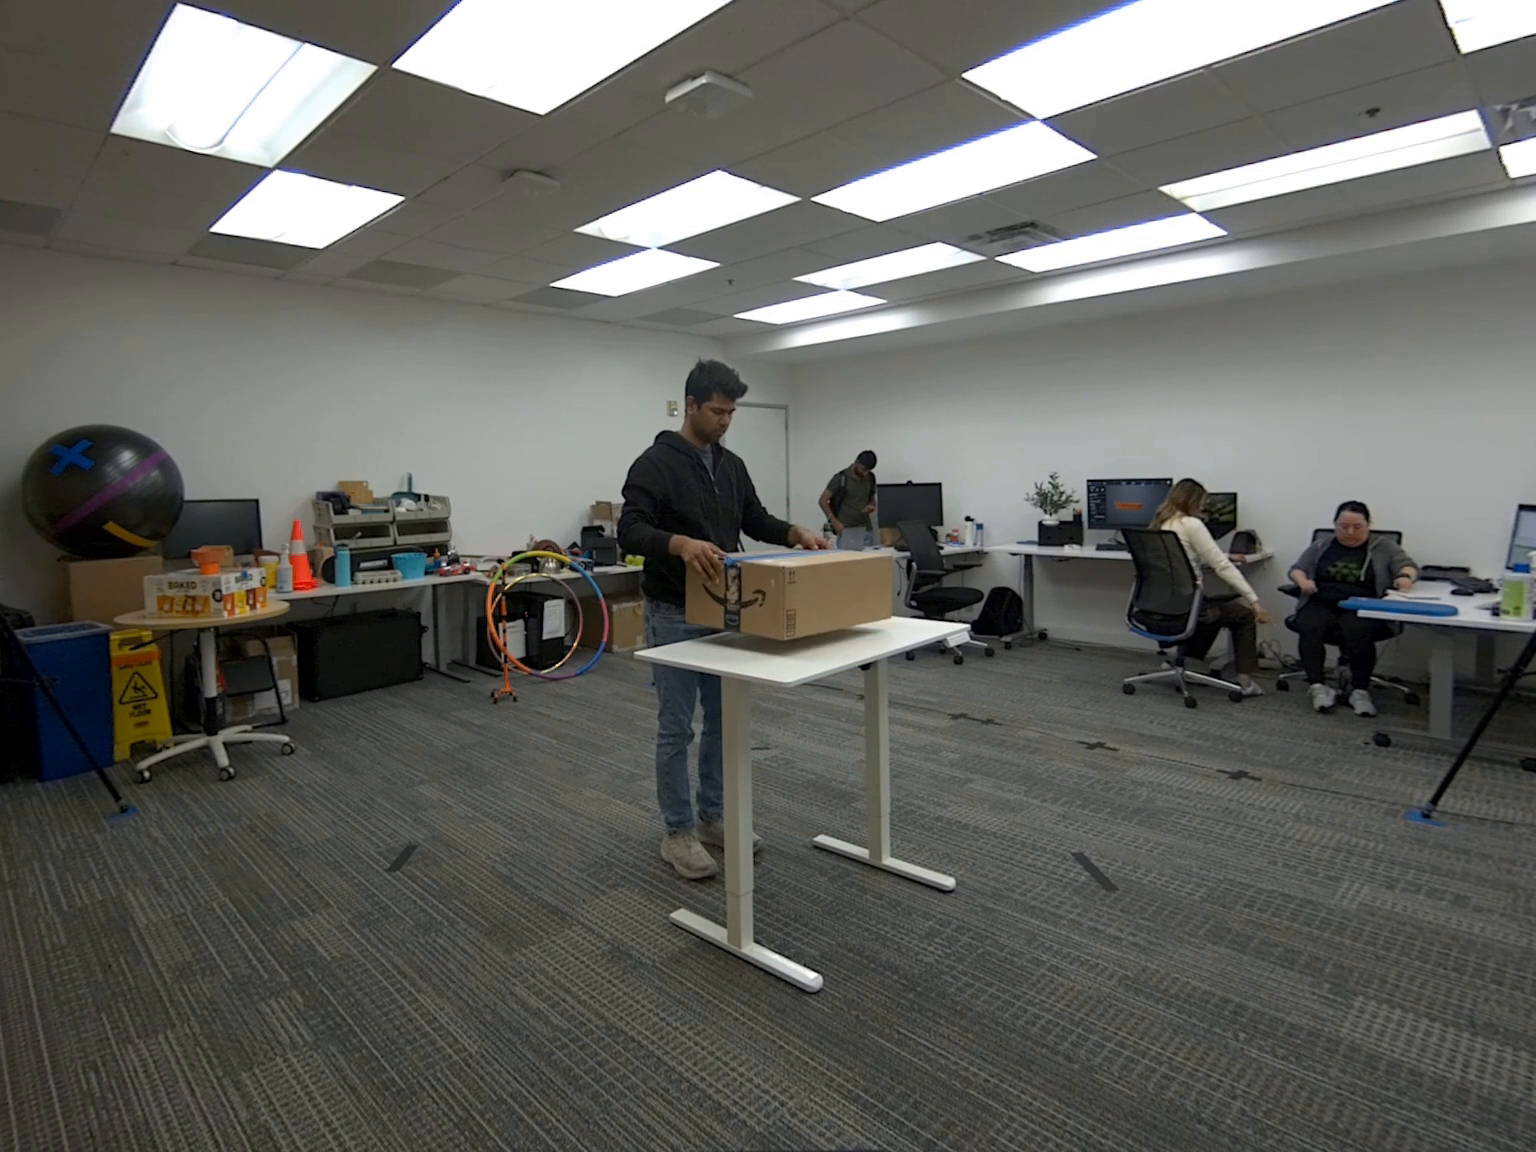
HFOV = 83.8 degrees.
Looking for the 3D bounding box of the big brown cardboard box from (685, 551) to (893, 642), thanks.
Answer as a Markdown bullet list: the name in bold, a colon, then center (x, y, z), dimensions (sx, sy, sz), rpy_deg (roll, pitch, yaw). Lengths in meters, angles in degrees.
- **big brown cardboard box**: center (0.070, 0.038, 2.788), dimensions (0.430, 0.232, 0.573), rpy_deg (5, 7, 42)
